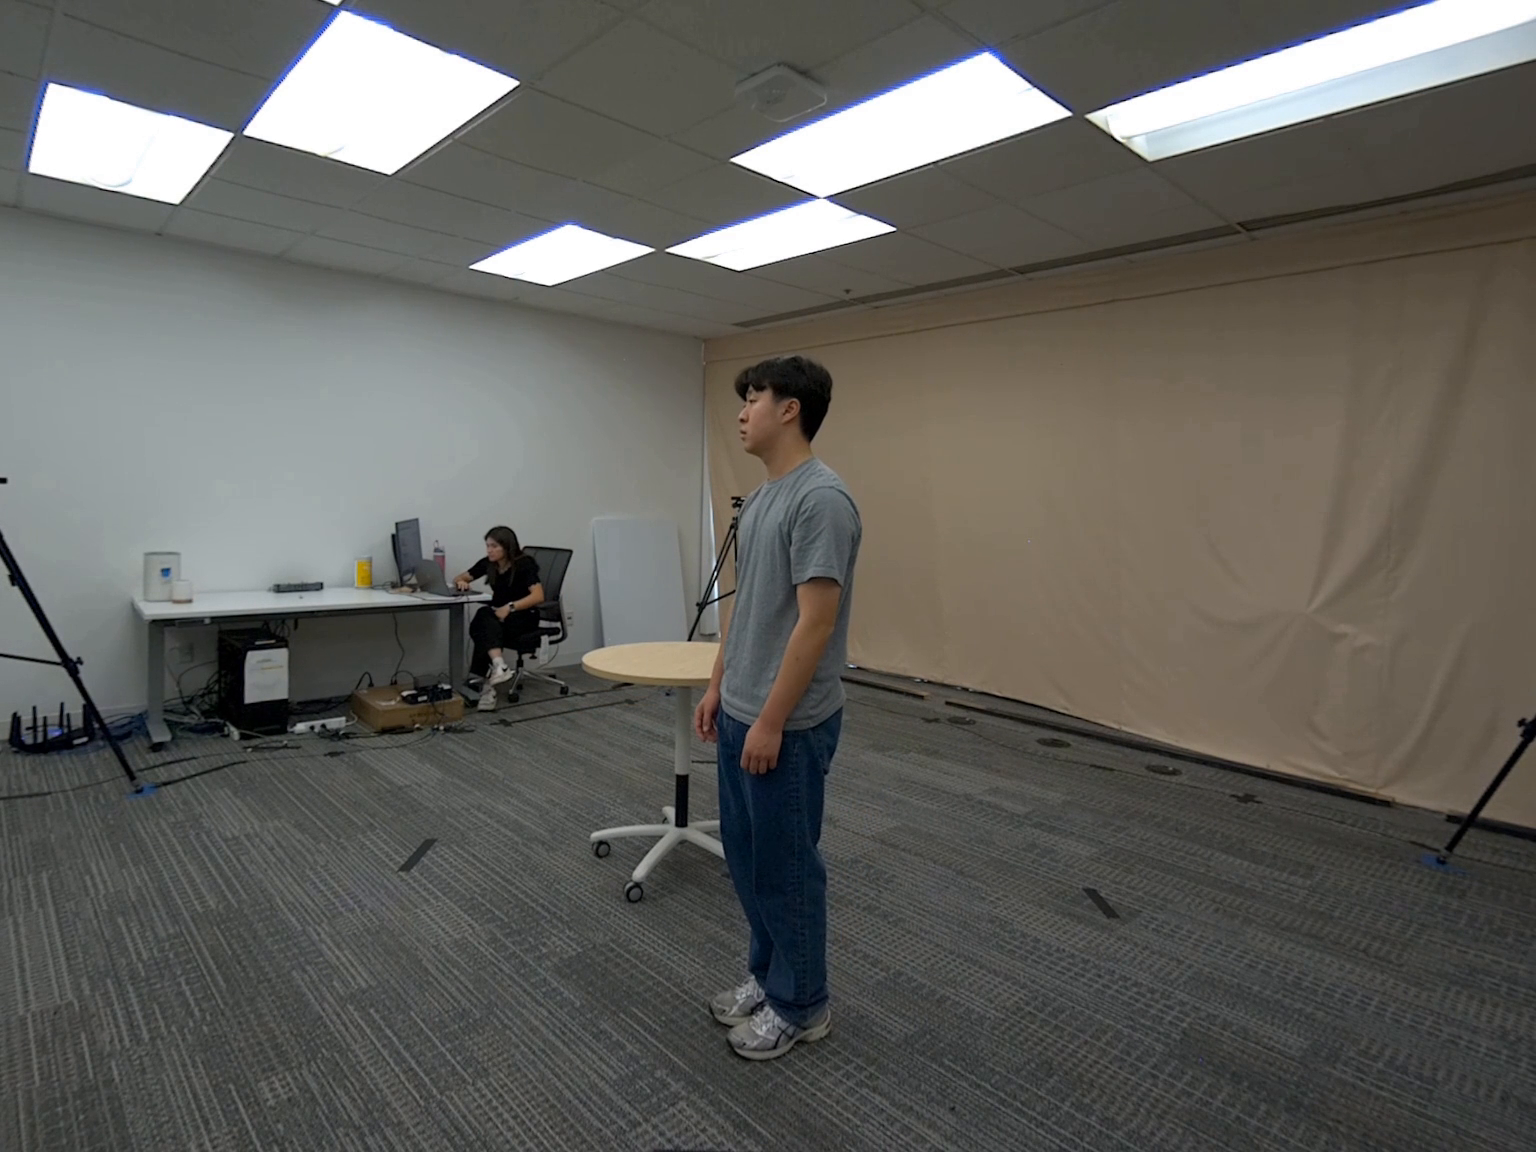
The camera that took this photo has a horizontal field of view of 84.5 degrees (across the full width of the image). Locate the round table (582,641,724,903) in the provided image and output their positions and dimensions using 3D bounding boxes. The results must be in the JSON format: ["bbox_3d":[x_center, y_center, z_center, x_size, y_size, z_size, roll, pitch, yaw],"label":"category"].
[{"bbox_3d":[-0.328,0.704,3.195,0.763,0.792,0.766,1,4,-1],"label":"round table"}]
